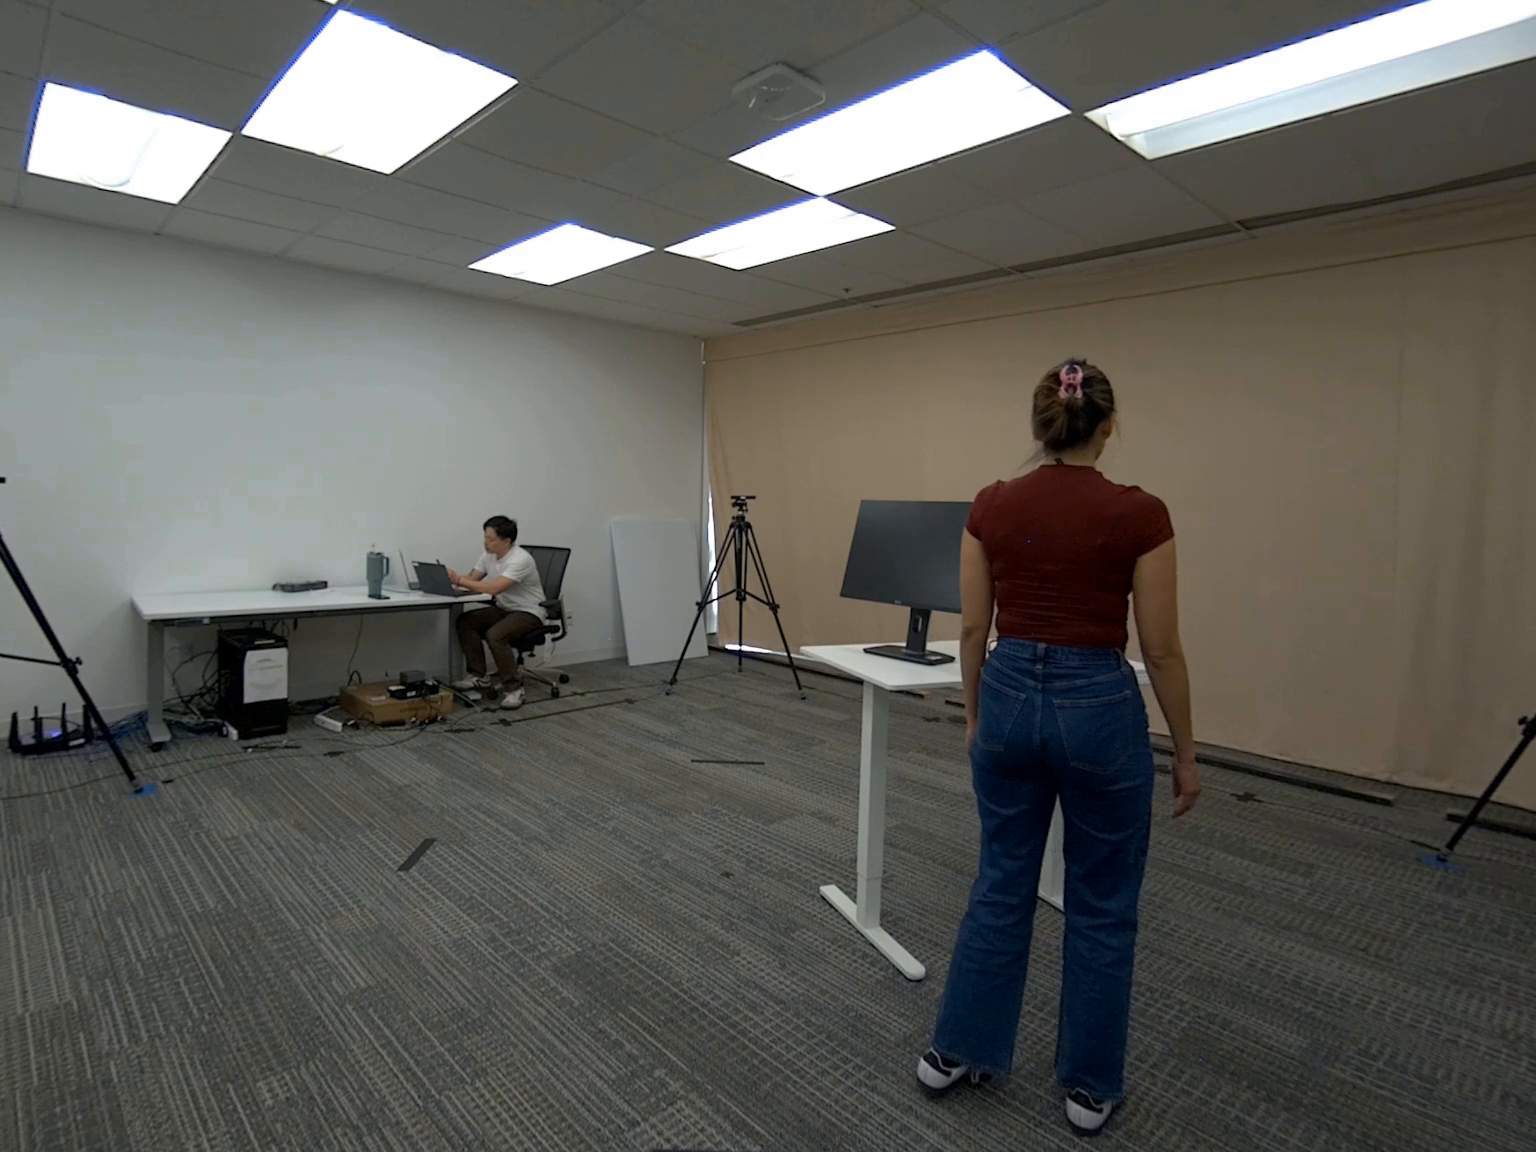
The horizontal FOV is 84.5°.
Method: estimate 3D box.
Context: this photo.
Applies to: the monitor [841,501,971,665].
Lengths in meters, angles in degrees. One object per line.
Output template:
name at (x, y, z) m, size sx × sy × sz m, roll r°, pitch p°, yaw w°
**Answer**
monitor at (0.485, 0.017, 2.770) m, size 0.182 × 0.522 × 0.553 m, roll 2°, pitch 3°, yaw -42°
